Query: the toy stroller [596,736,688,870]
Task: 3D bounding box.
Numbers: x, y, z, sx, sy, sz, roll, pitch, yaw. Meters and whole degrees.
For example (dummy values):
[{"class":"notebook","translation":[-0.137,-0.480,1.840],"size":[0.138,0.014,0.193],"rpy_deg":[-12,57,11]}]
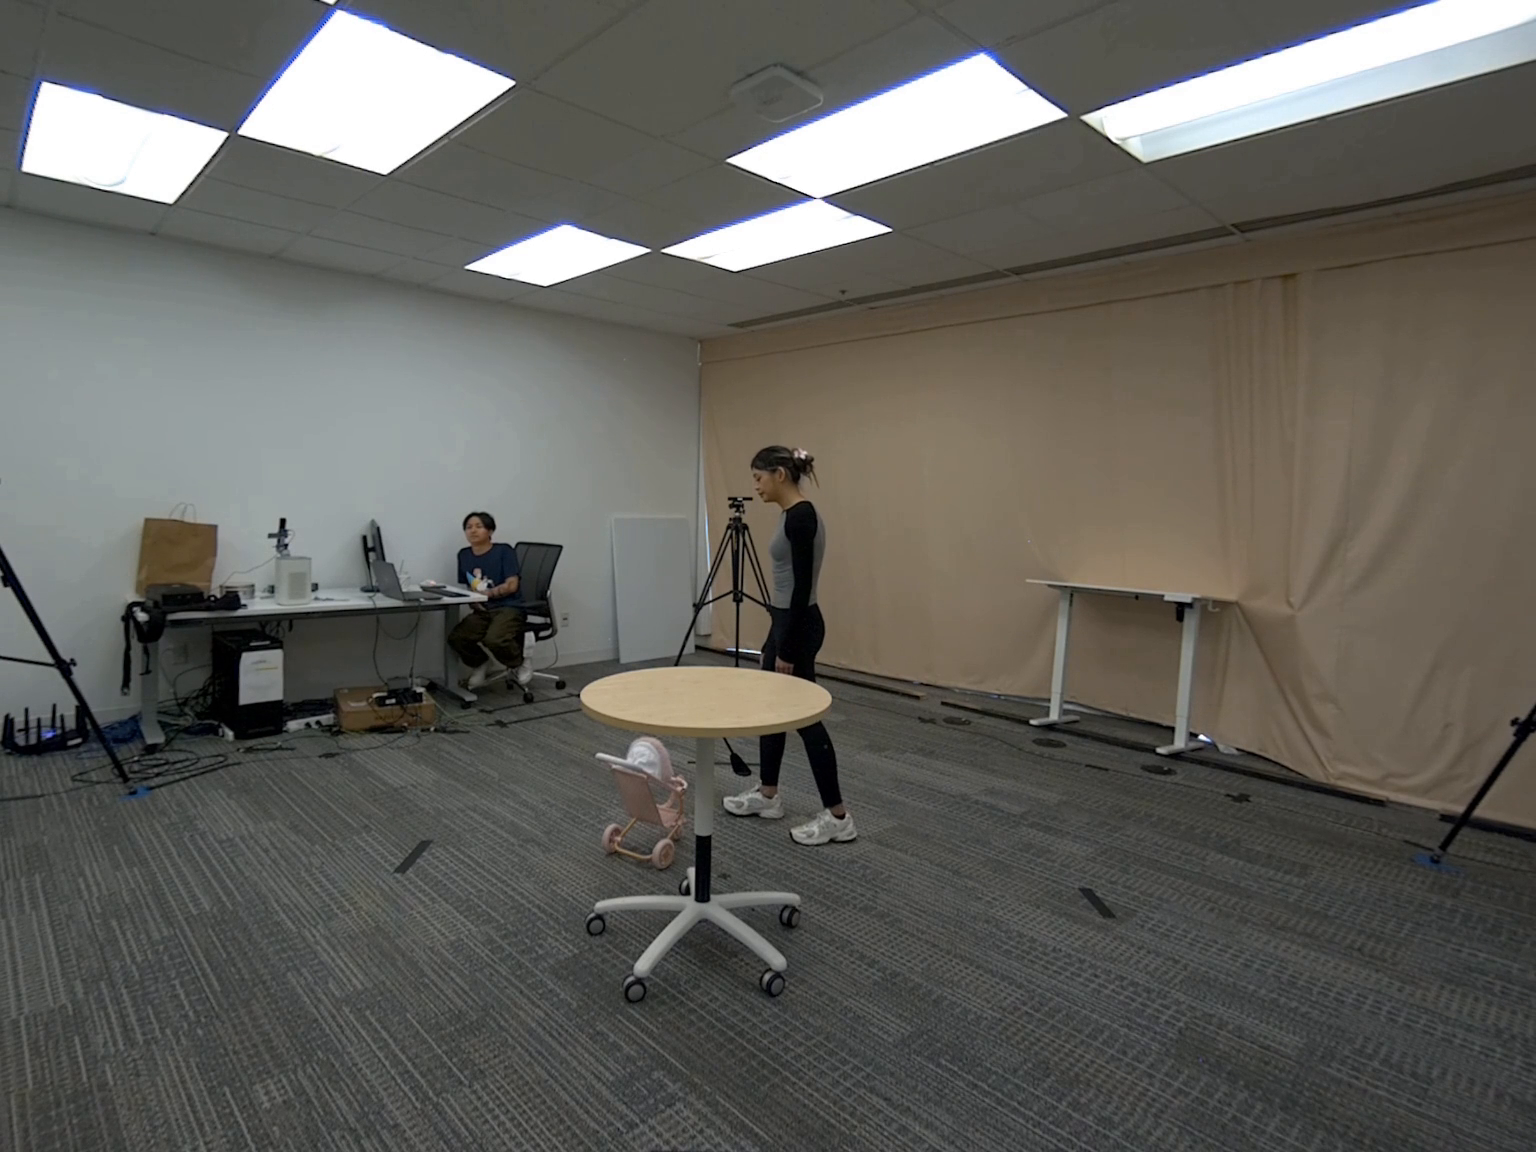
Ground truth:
[{"class":"toy stroller","translation":[-0.465,0.860,3.265],"size":[0.288,0.528,0.337],"rpy_deg":[5,20,35]}]
